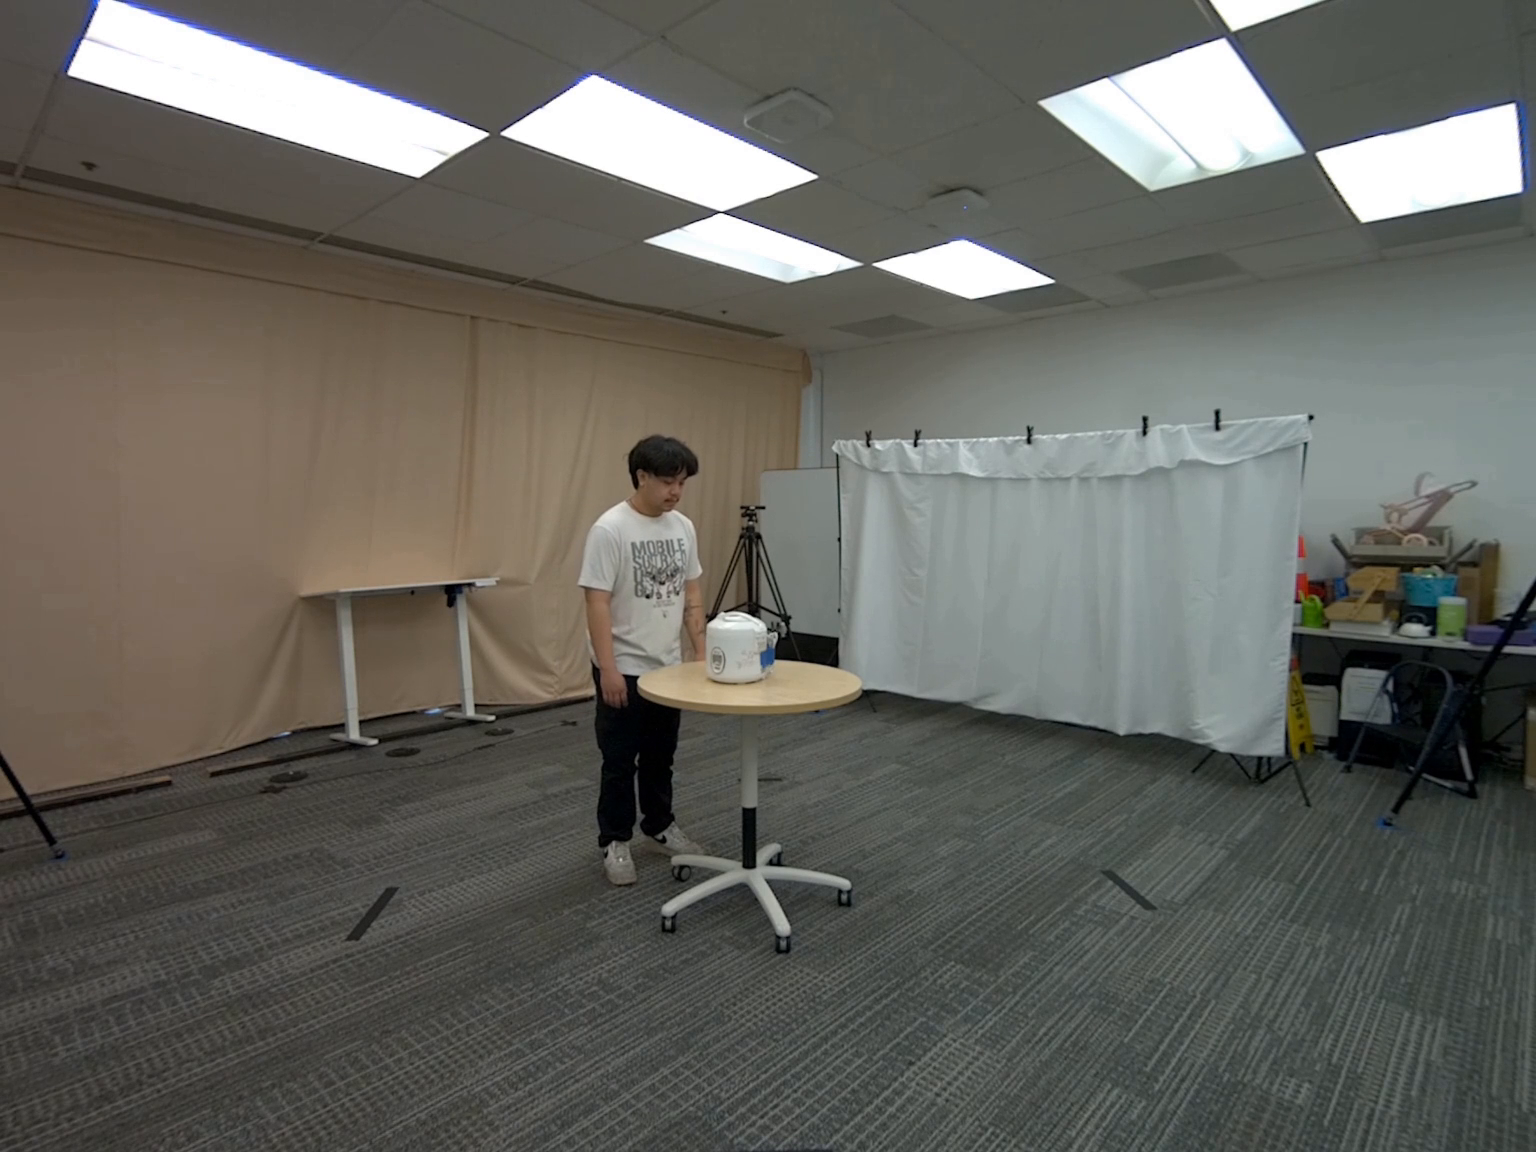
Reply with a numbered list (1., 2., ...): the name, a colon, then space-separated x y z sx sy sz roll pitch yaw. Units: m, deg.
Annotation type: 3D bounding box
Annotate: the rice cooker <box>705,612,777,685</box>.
1. rice cooker: -0.105 0.236 2.883 0.227 0.232 0.211 3 4 35
